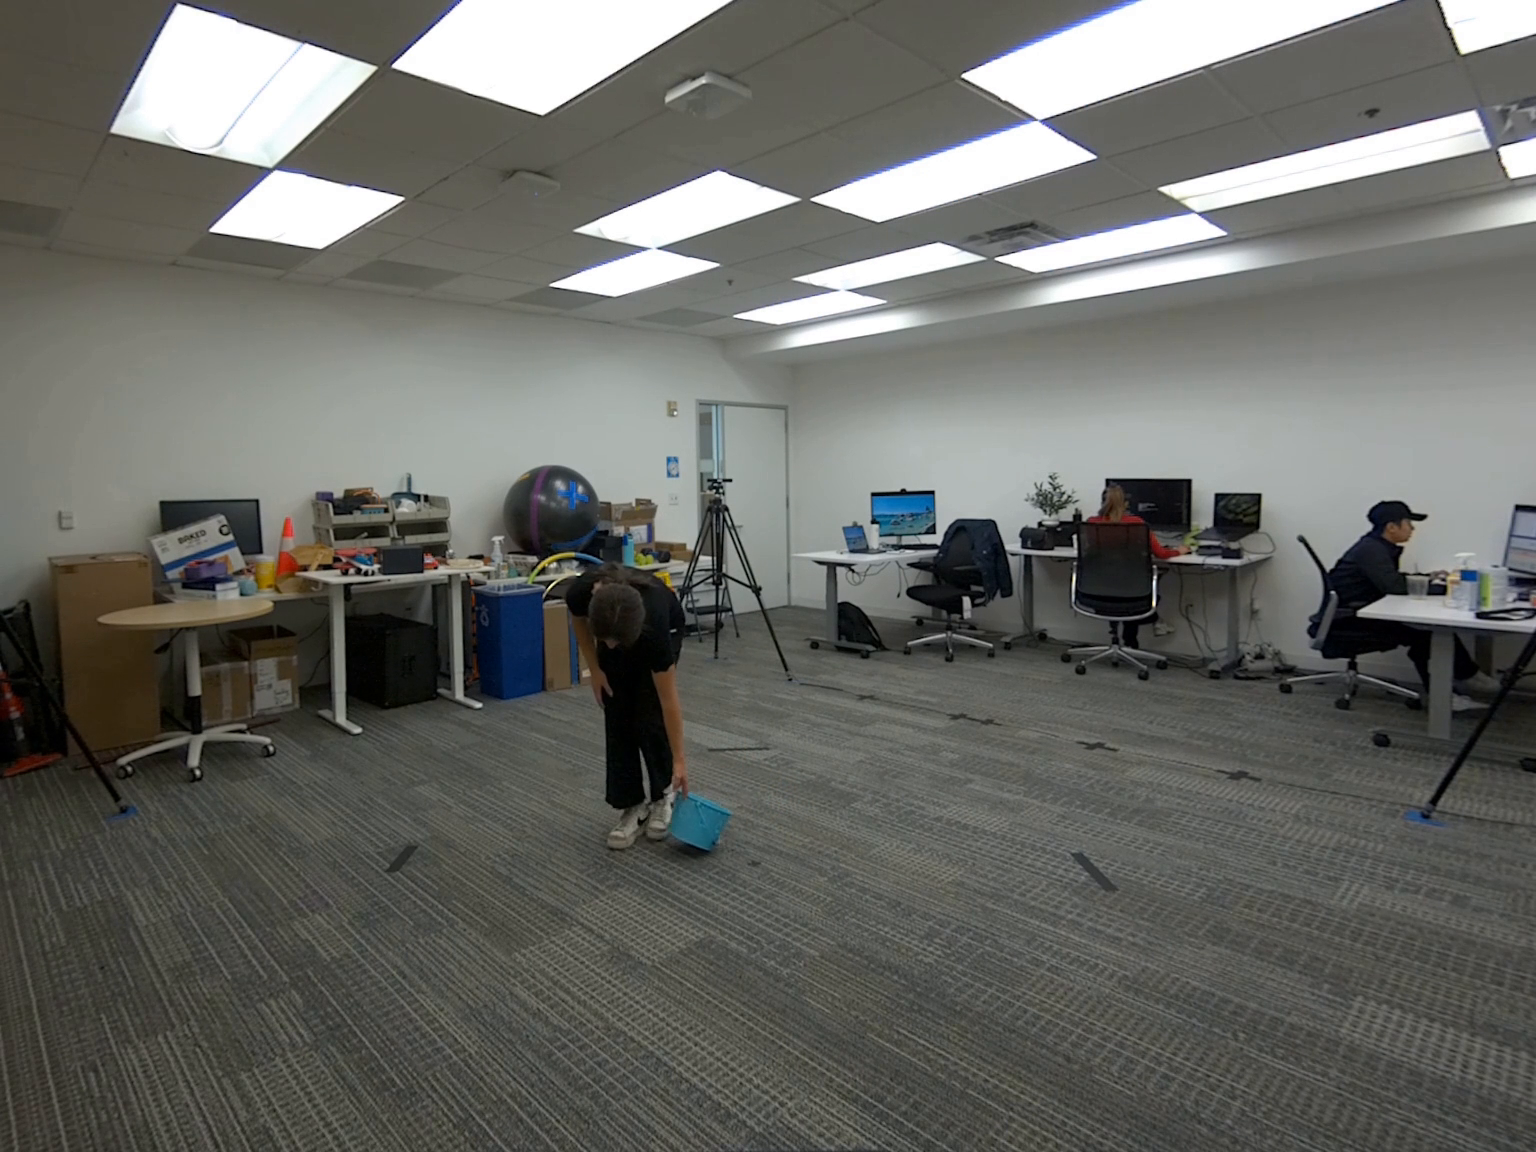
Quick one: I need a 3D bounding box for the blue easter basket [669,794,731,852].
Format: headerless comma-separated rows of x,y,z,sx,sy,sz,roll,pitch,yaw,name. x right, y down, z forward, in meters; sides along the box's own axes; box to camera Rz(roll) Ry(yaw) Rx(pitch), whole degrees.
-0.261,0.925,3.229,0.245,0.157,0.241,21,-10,2,blue easter basket
